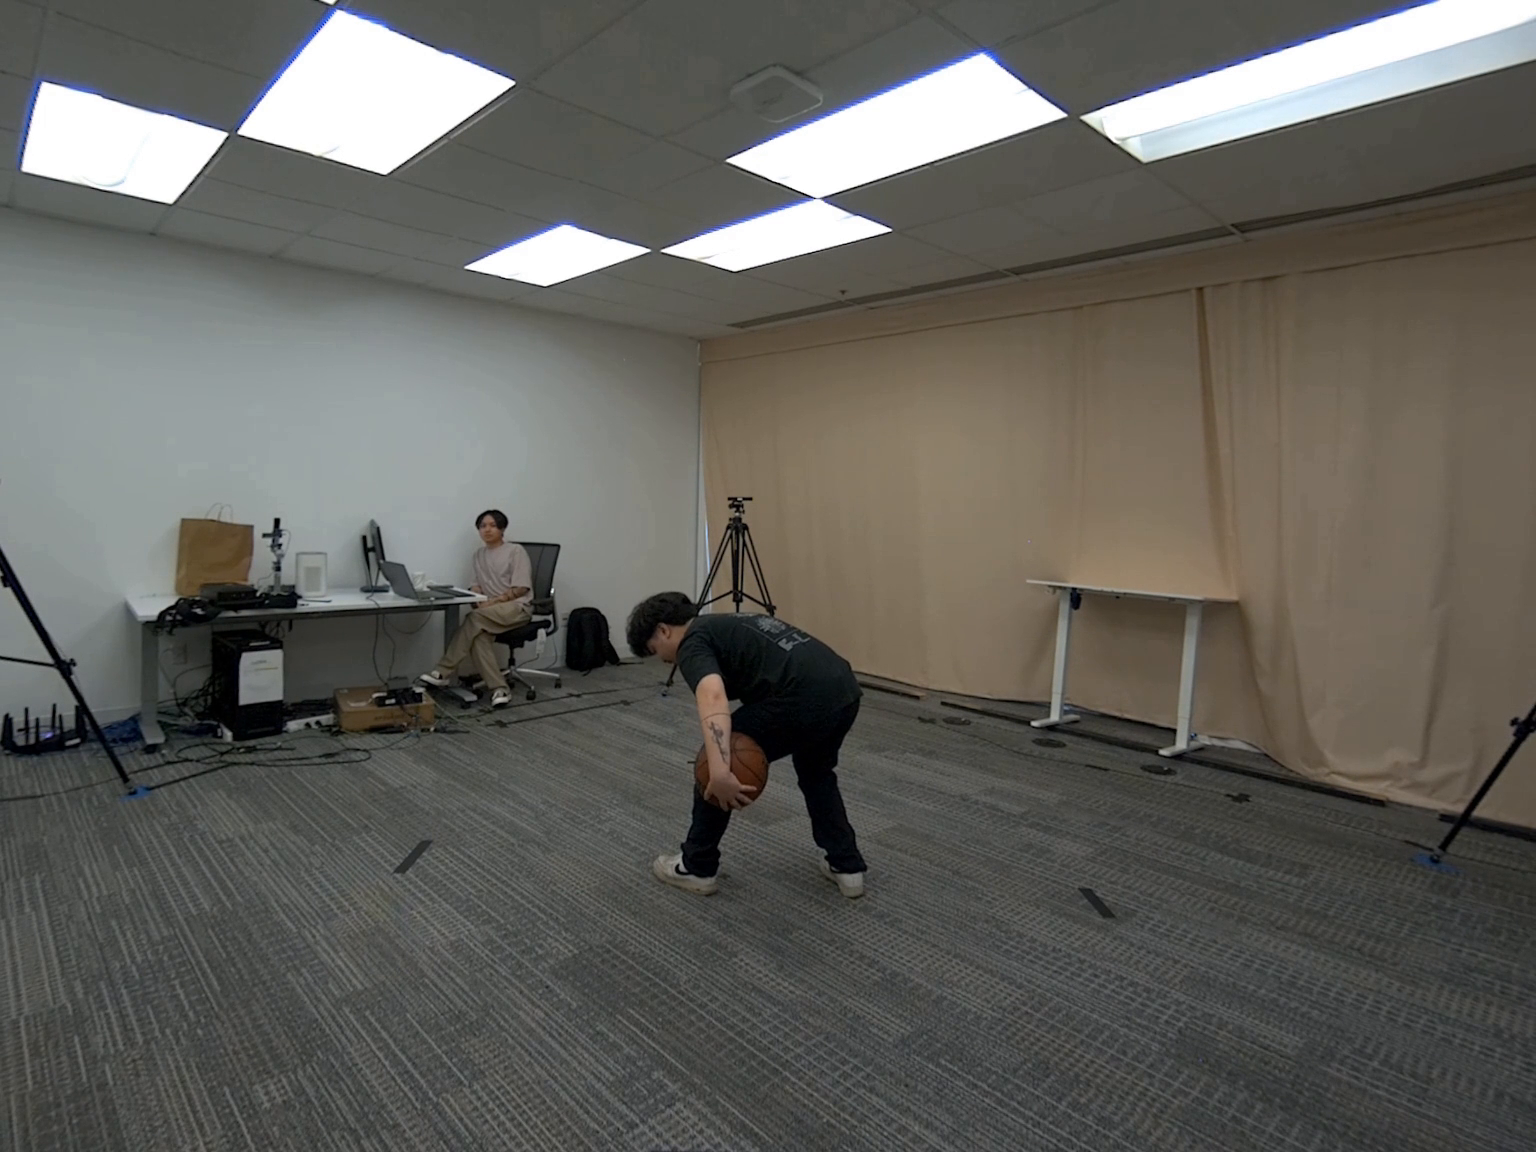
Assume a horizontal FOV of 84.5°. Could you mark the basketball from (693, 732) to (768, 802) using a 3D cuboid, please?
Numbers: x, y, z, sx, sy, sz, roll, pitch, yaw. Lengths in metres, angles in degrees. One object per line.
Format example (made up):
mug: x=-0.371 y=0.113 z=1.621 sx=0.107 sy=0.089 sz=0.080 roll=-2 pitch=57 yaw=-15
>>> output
basketball: x=-0.123 y=0.628 z=2.694 sx=0.236 sy=0.235 sz=0.237 roll=1 pitch=4 yaw=-1
